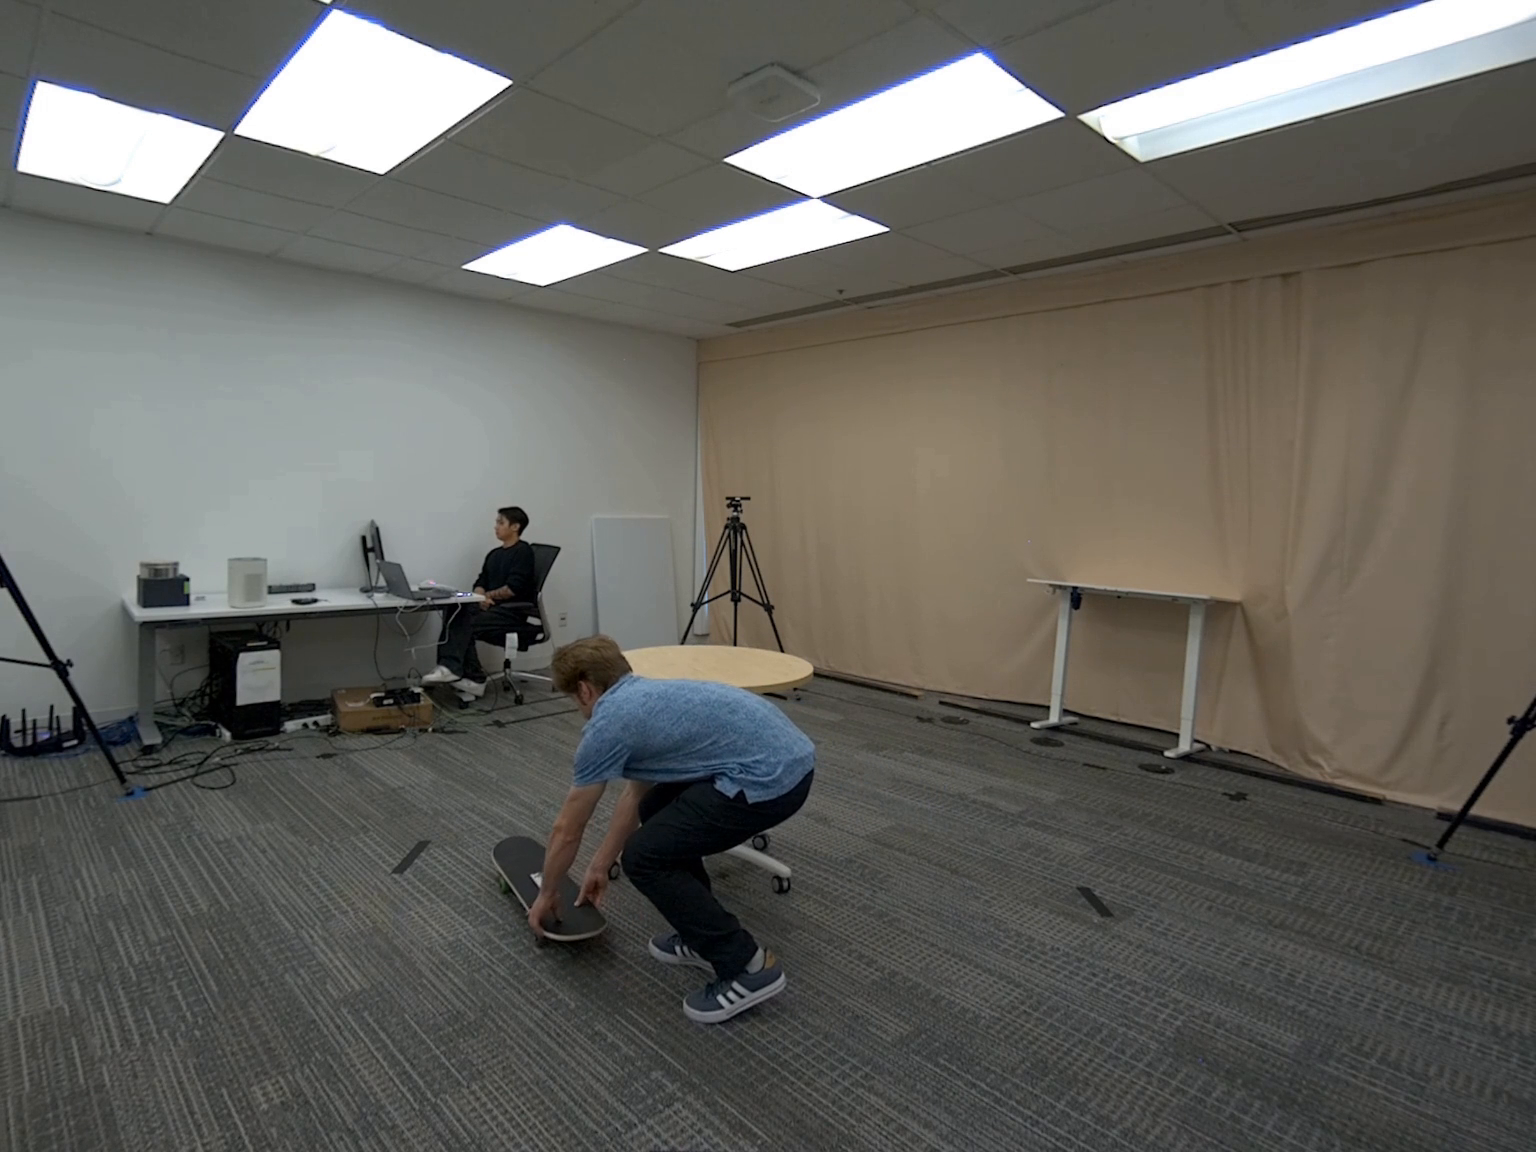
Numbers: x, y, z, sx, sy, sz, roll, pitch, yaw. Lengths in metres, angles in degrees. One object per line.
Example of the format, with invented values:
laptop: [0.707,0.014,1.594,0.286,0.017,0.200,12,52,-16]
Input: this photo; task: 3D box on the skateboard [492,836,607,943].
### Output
skateboard: [-0.751,1.068,2.800,0.189,0.110,0.804,-2,7,-32]
